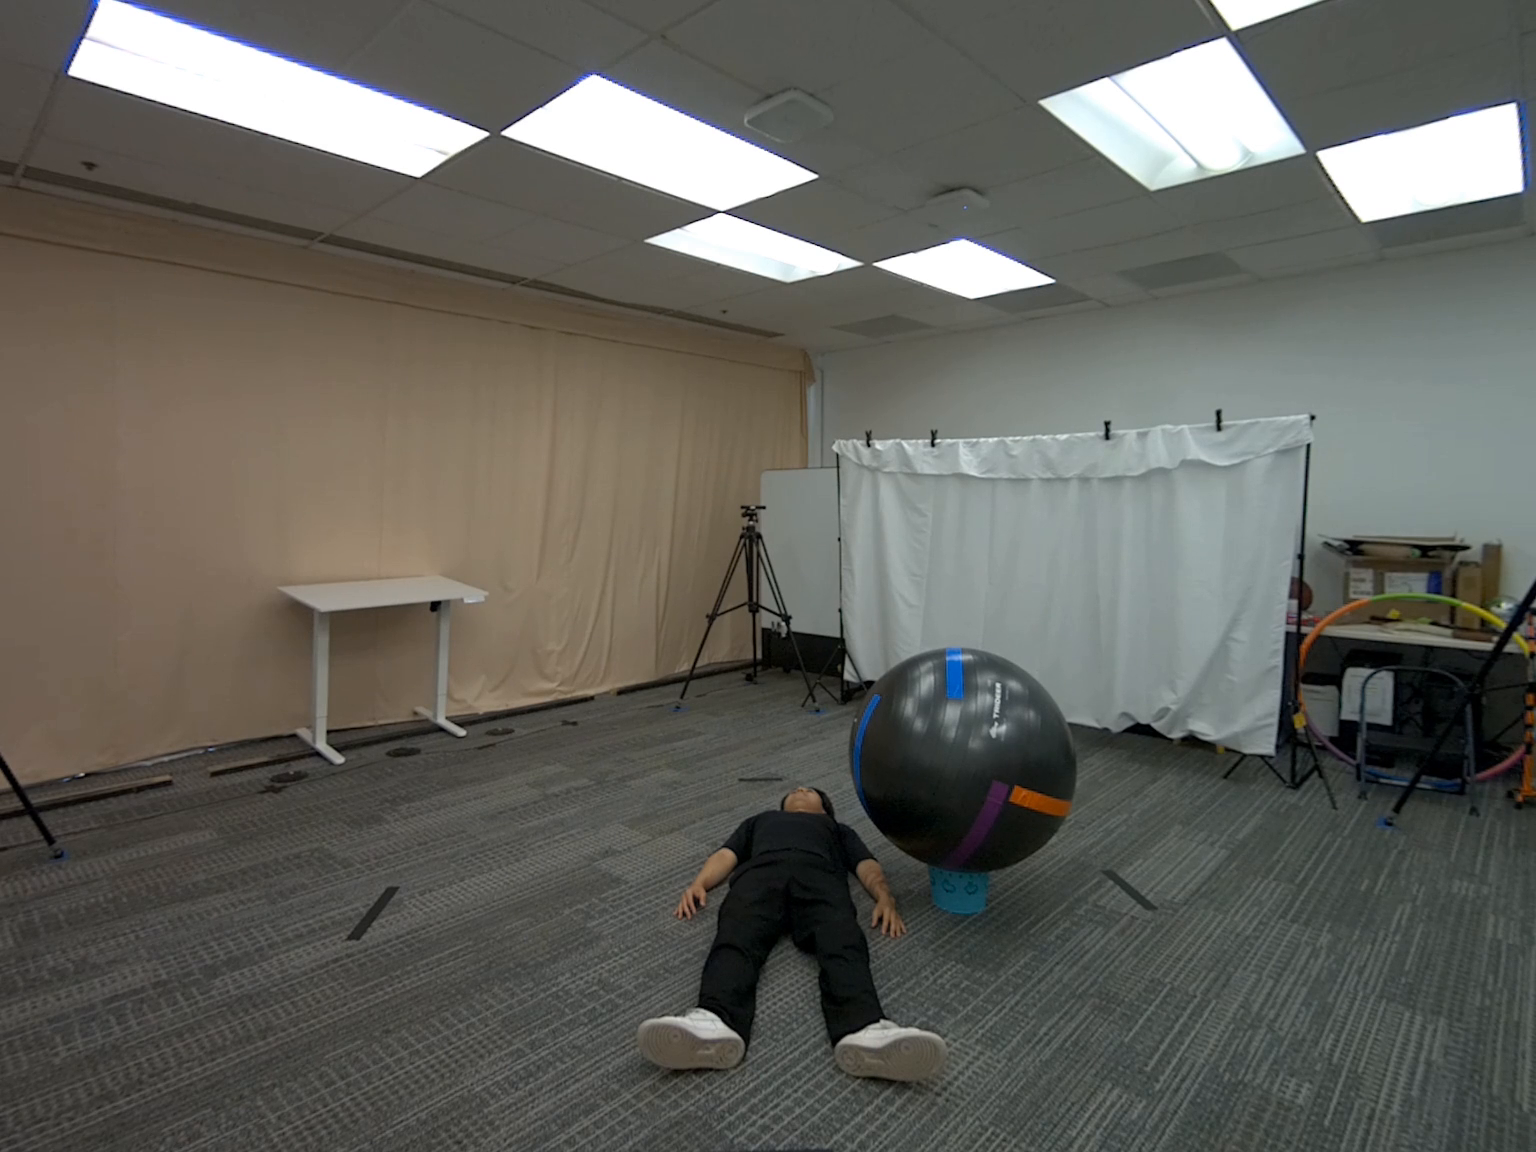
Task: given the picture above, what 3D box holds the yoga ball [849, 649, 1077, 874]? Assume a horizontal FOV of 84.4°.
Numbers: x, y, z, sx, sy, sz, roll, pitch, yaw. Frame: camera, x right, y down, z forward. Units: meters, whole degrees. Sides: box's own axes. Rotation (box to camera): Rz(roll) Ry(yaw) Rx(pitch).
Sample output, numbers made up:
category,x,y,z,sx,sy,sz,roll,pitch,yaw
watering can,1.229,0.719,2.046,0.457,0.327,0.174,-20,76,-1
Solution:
category,x,y,z,sx,sy,sz,roll,pitch,yaw
yoga ball,0.670,0.638,2.935,0.757,0.756,0.760,0,4,-2
